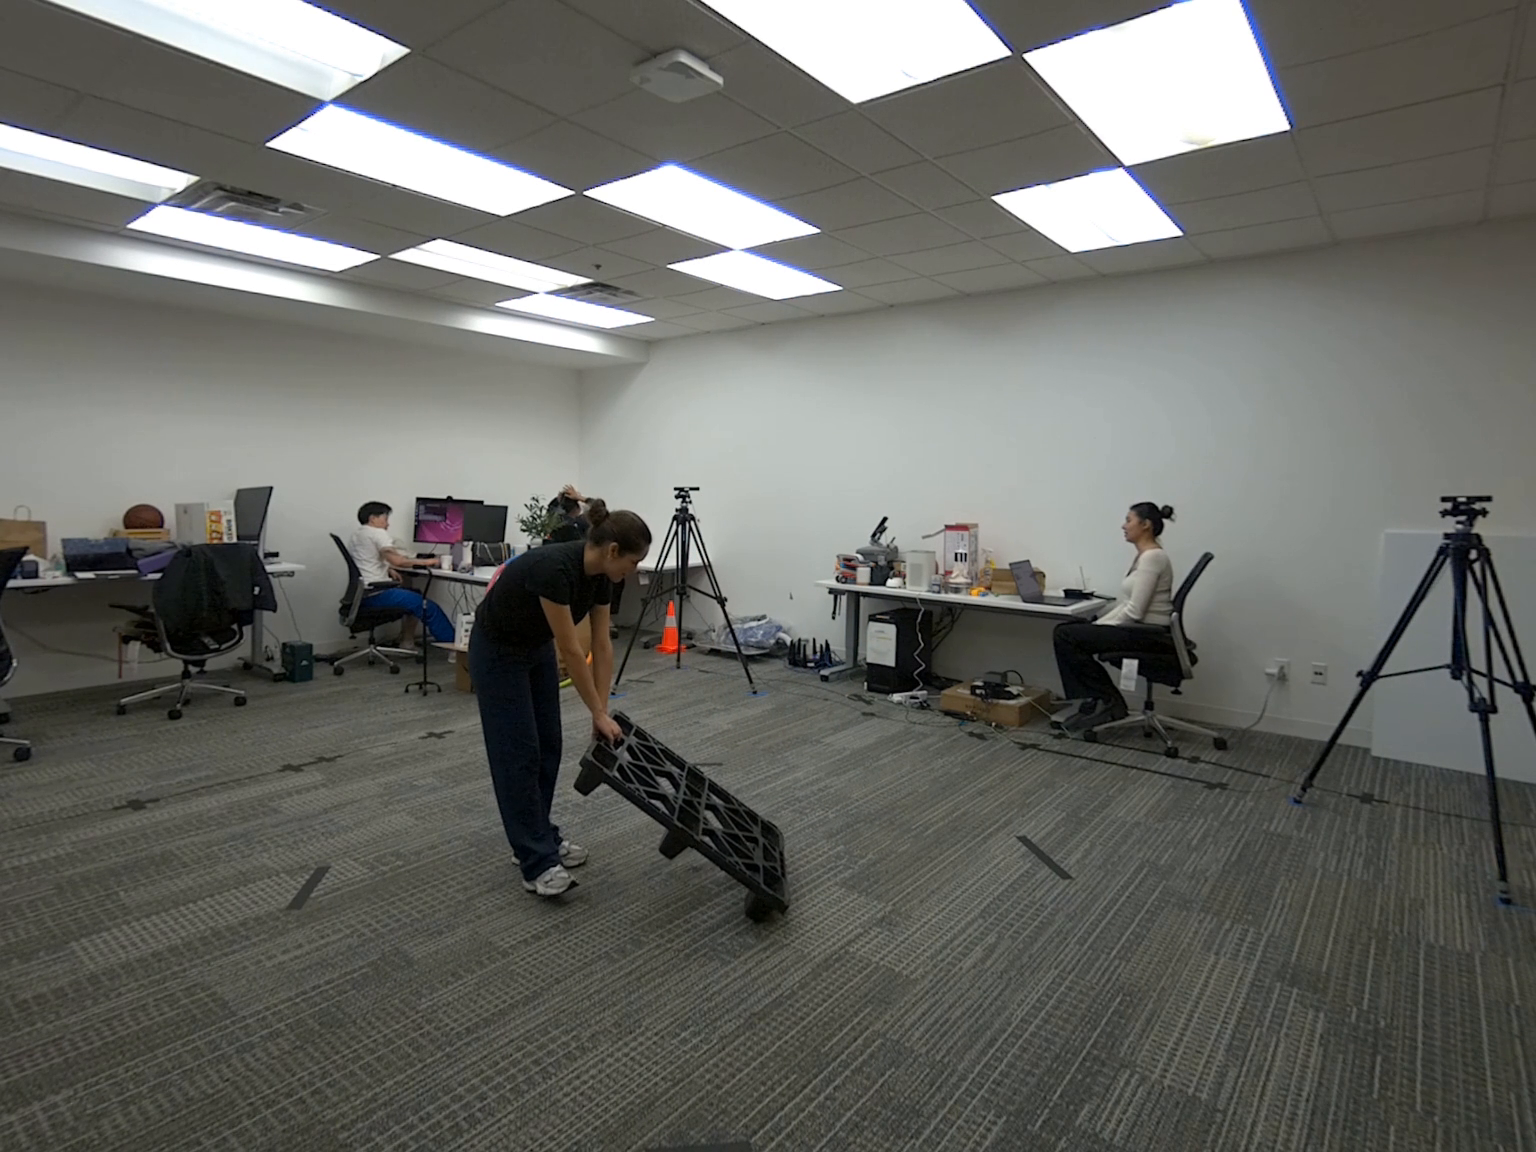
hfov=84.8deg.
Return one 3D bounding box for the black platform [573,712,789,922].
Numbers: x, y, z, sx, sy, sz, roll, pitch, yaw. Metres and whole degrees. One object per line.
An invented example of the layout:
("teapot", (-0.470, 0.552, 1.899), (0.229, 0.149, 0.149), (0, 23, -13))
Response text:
("black platform", (-0.288, 0.808, 2.960), (0.806, 0.143, 0.606), (37, 3, -1))
